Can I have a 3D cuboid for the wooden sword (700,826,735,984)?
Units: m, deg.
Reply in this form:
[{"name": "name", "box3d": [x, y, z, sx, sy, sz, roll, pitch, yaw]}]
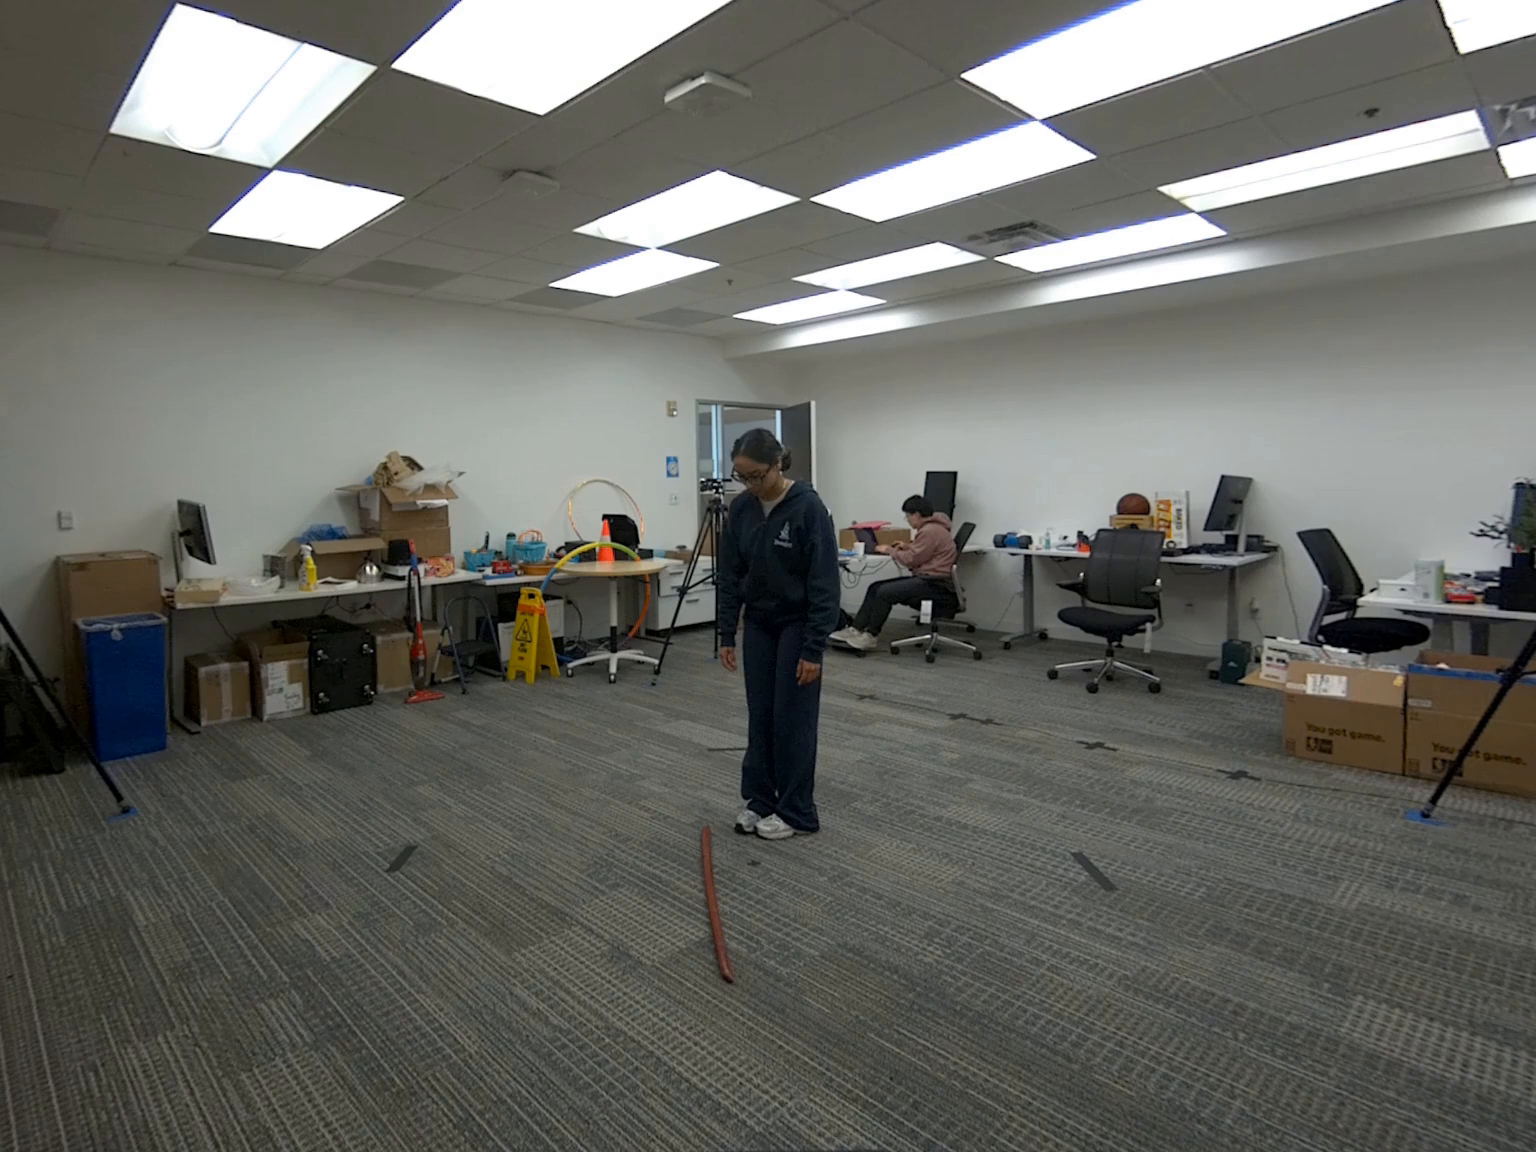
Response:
[{"name": "wooden sword", "box3d": [-0.191, 1.060, 2.877, 0.051, 0.024, 1.036, 14, 5, -10]}]
